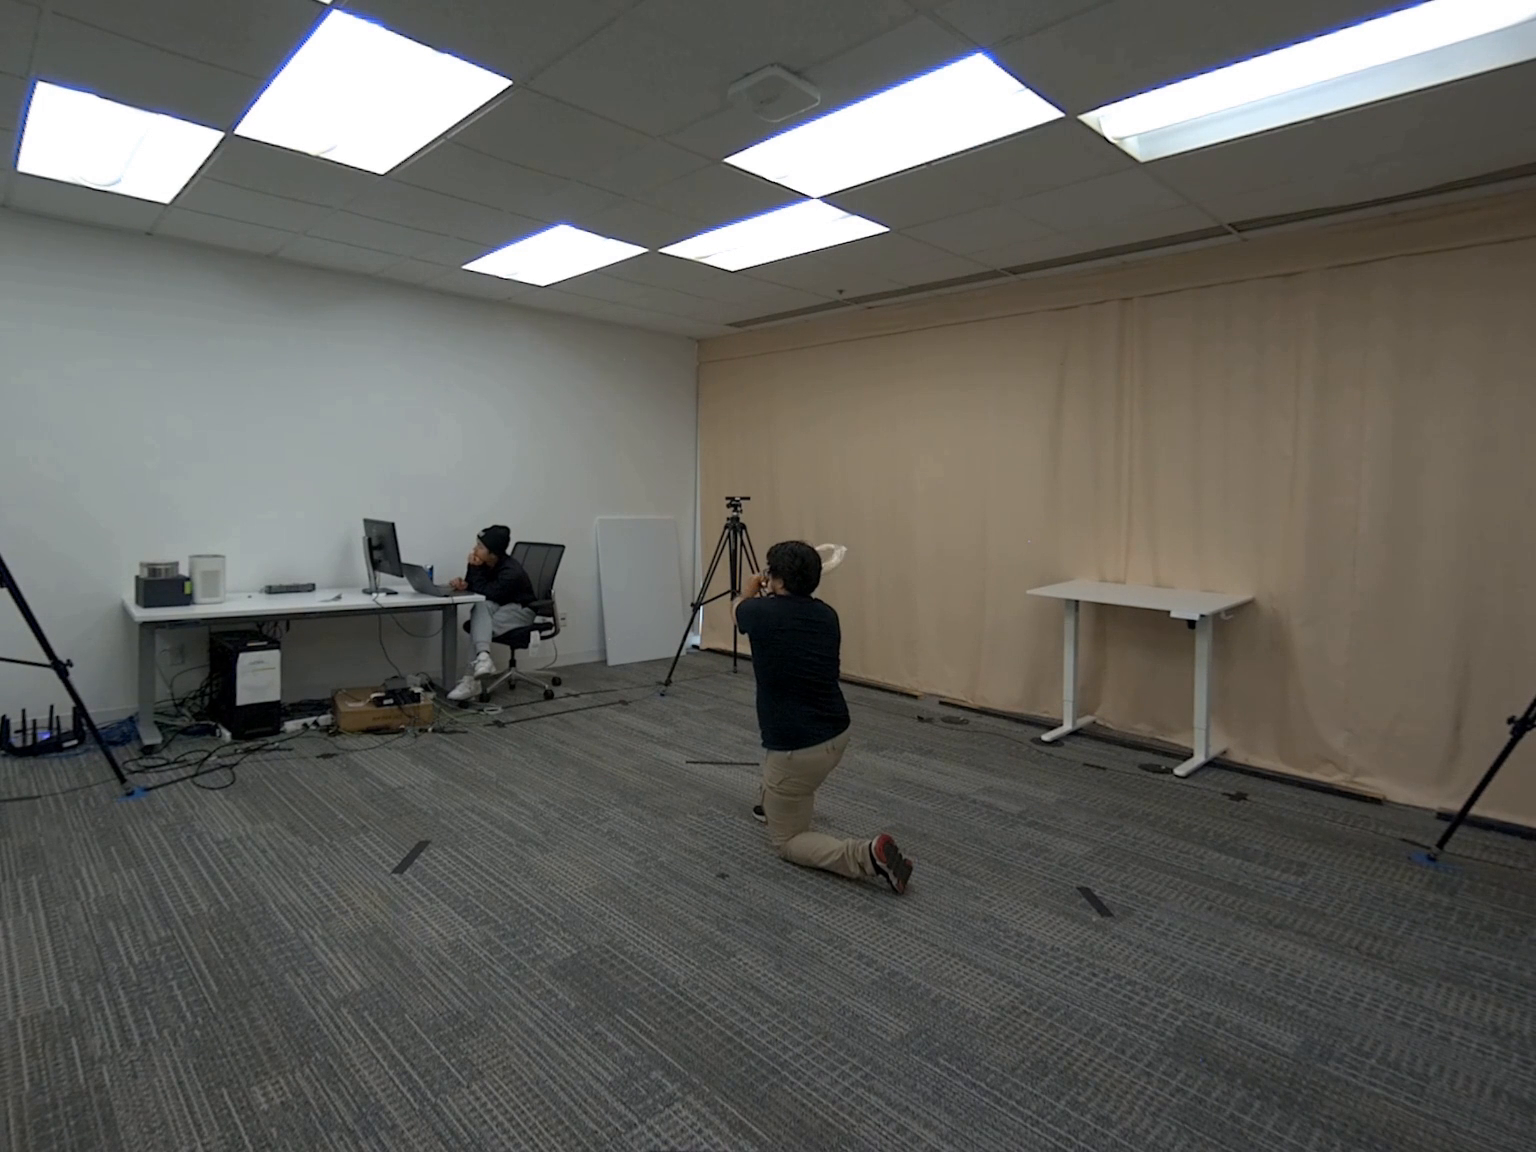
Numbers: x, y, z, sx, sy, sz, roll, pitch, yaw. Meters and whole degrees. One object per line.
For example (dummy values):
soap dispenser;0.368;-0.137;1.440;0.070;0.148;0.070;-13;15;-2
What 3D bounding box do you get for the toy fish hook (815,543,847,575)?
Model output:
toy fish hook;0.109;-0.034;3.734;0.516;0.047;0.225;-11;29;38
